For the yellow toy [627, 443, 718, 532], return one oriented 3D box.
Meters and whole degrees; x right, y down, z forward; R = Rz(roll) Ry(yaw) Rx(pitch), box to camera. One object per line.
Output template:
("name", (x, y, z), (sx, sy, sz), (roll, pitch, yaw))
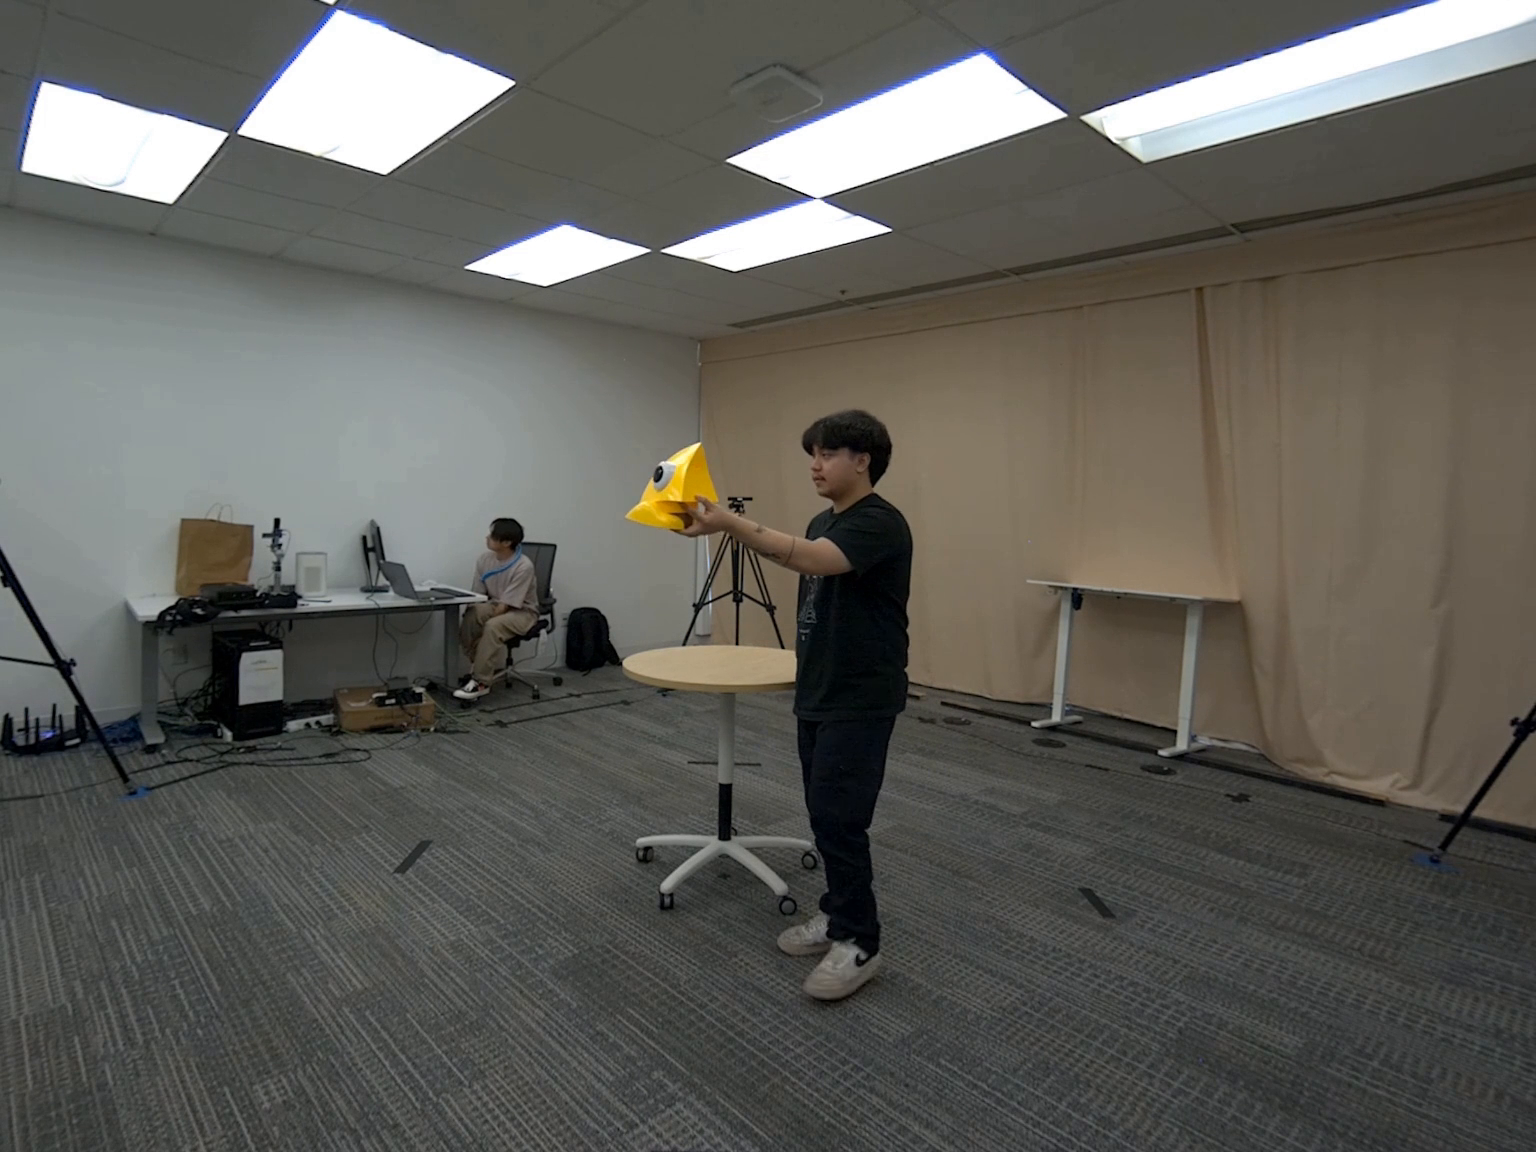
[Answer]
("yellow toy", (-0.254, -0.249, 2.239), (0.197, 0.229, 0.201), (14, 10, 24))
